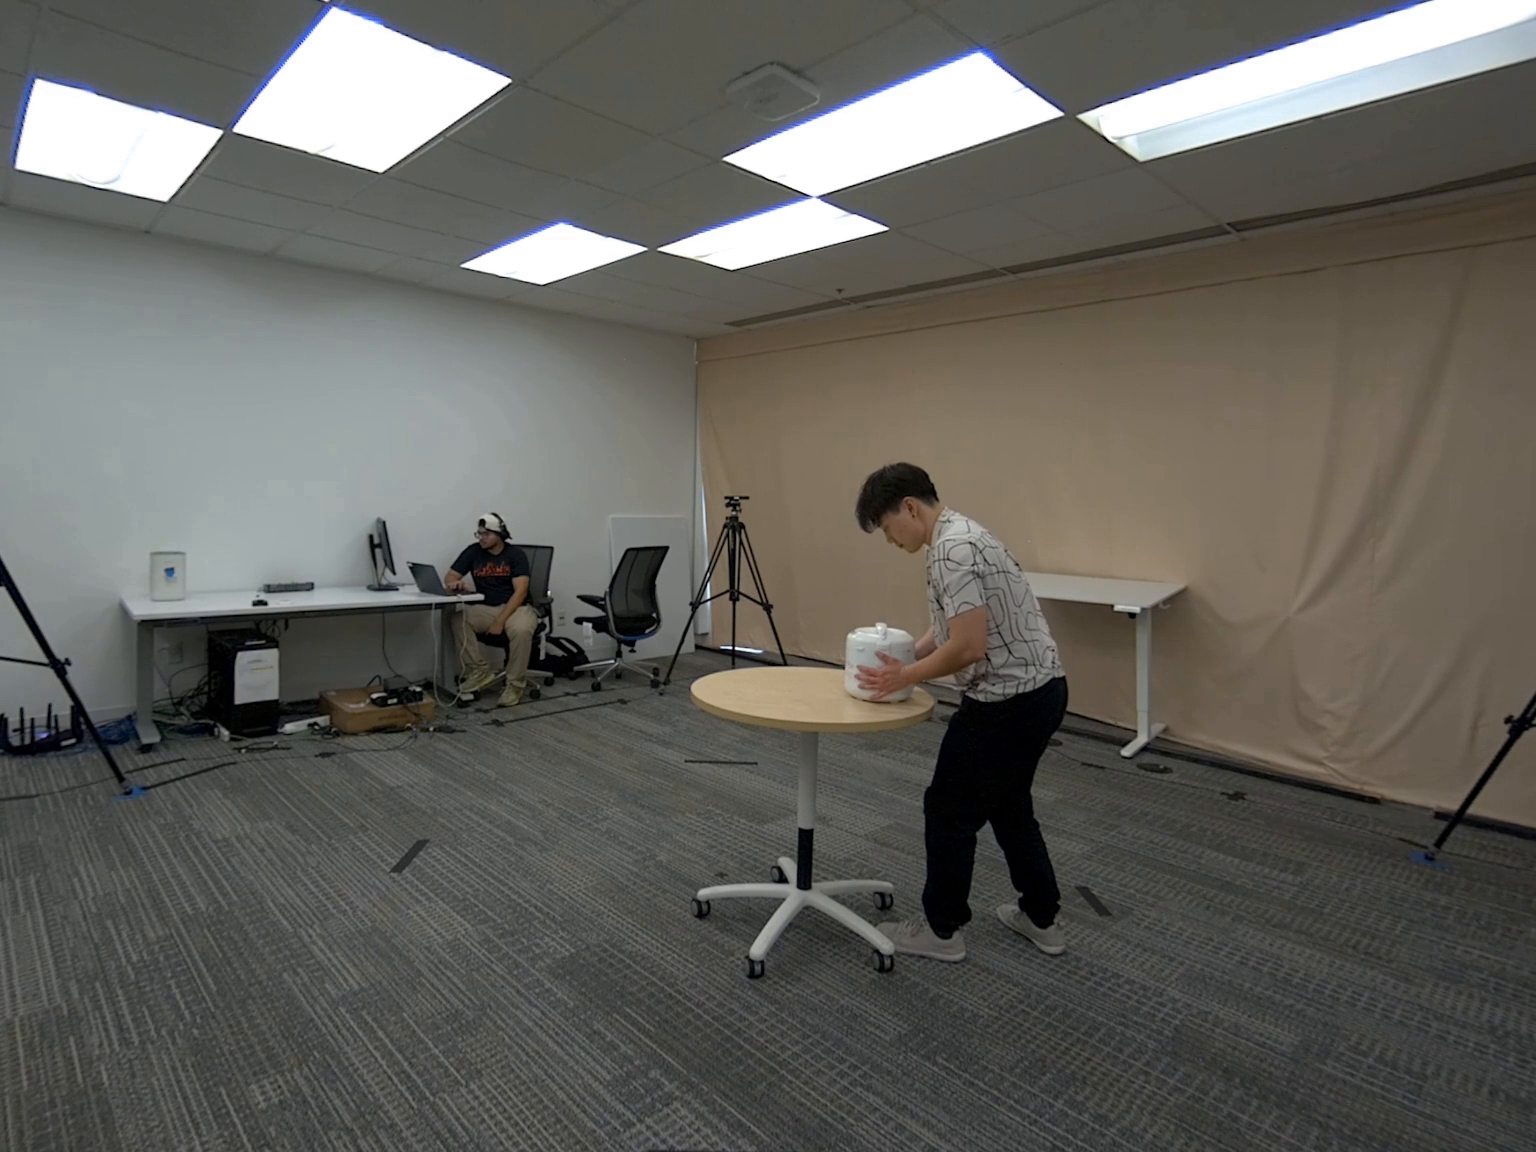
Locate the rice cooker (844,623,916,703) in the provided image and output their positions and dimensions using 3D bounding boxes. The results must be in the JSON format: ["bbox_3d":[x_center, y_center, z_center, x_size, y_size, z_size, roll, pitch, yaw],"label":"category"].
[{"bbox_3d":[0.347,0.262,2.629,0.218,0.232,0.220,2,5,4],"label":"rice cooker"}]
